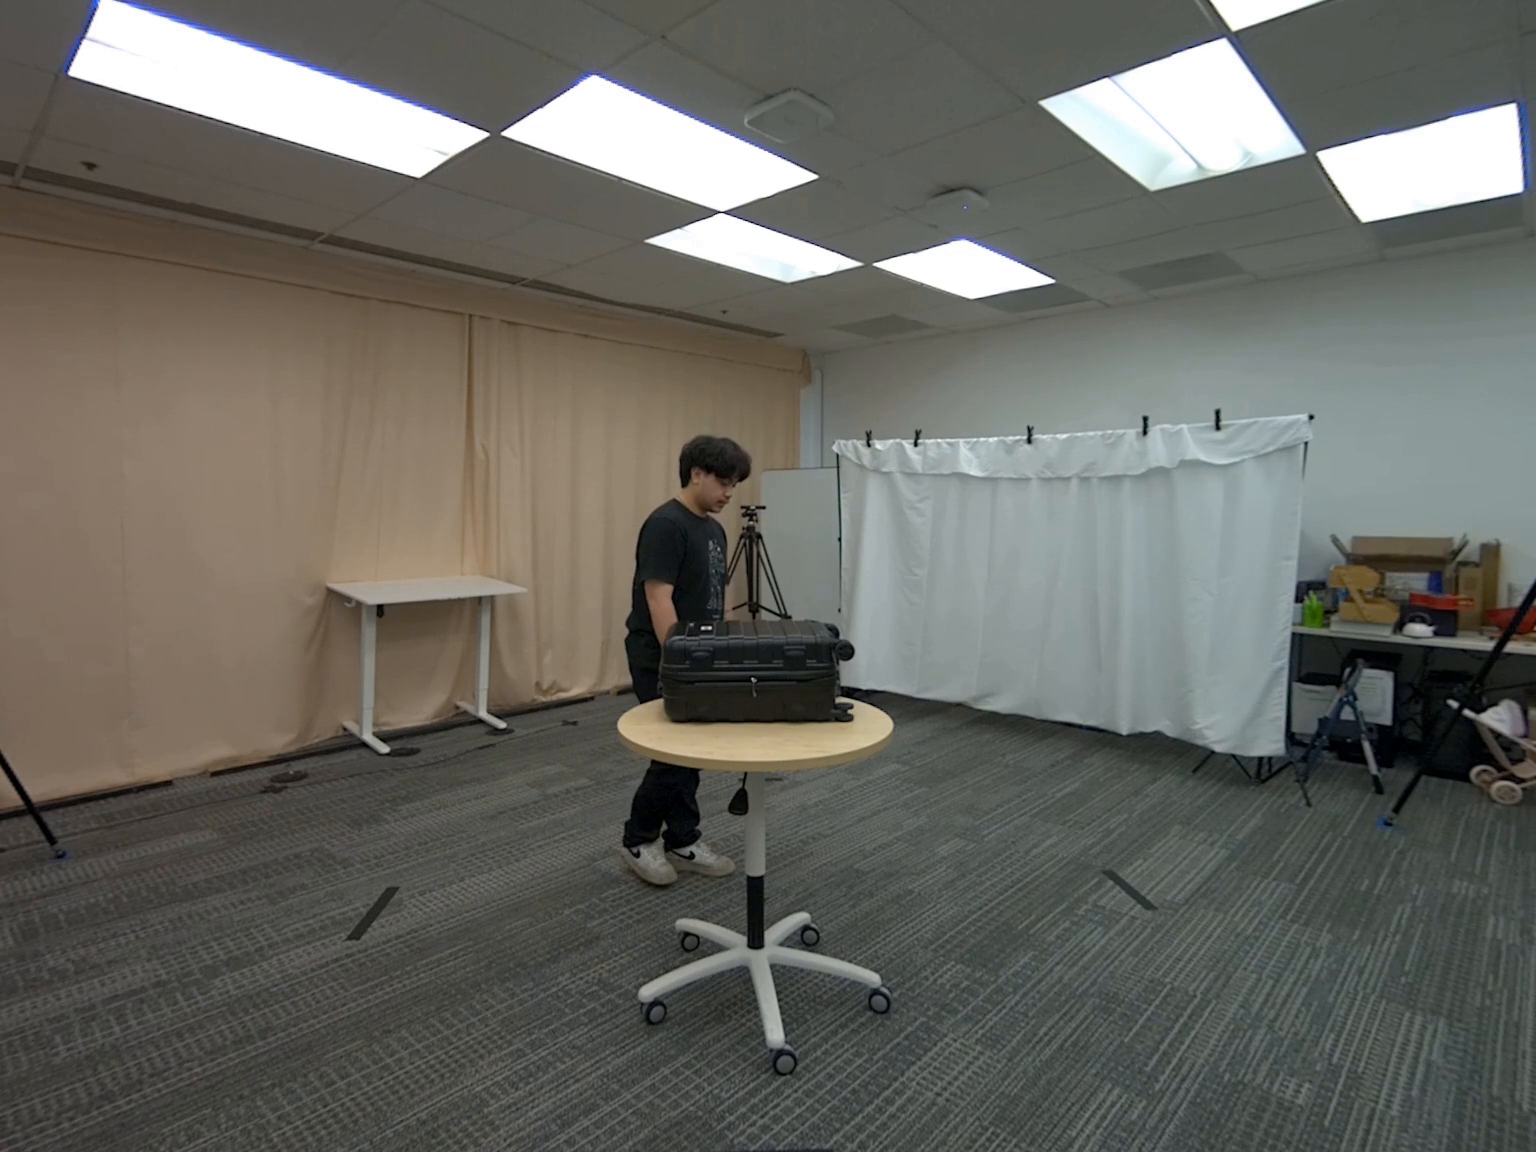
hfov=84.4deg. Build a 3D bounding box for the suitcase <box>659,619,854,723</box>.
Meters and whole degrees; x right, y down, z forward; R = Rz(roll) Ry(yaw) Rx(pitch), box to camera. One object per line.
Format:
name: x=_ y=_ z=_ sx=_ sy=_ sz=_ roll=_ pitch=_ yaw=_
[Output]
suitcase: x=-0.039 y=0.274 z=2.464 sx=0.550 sy=0.247 sz=0.376 roll=-1 pitch=7 yaw=1
